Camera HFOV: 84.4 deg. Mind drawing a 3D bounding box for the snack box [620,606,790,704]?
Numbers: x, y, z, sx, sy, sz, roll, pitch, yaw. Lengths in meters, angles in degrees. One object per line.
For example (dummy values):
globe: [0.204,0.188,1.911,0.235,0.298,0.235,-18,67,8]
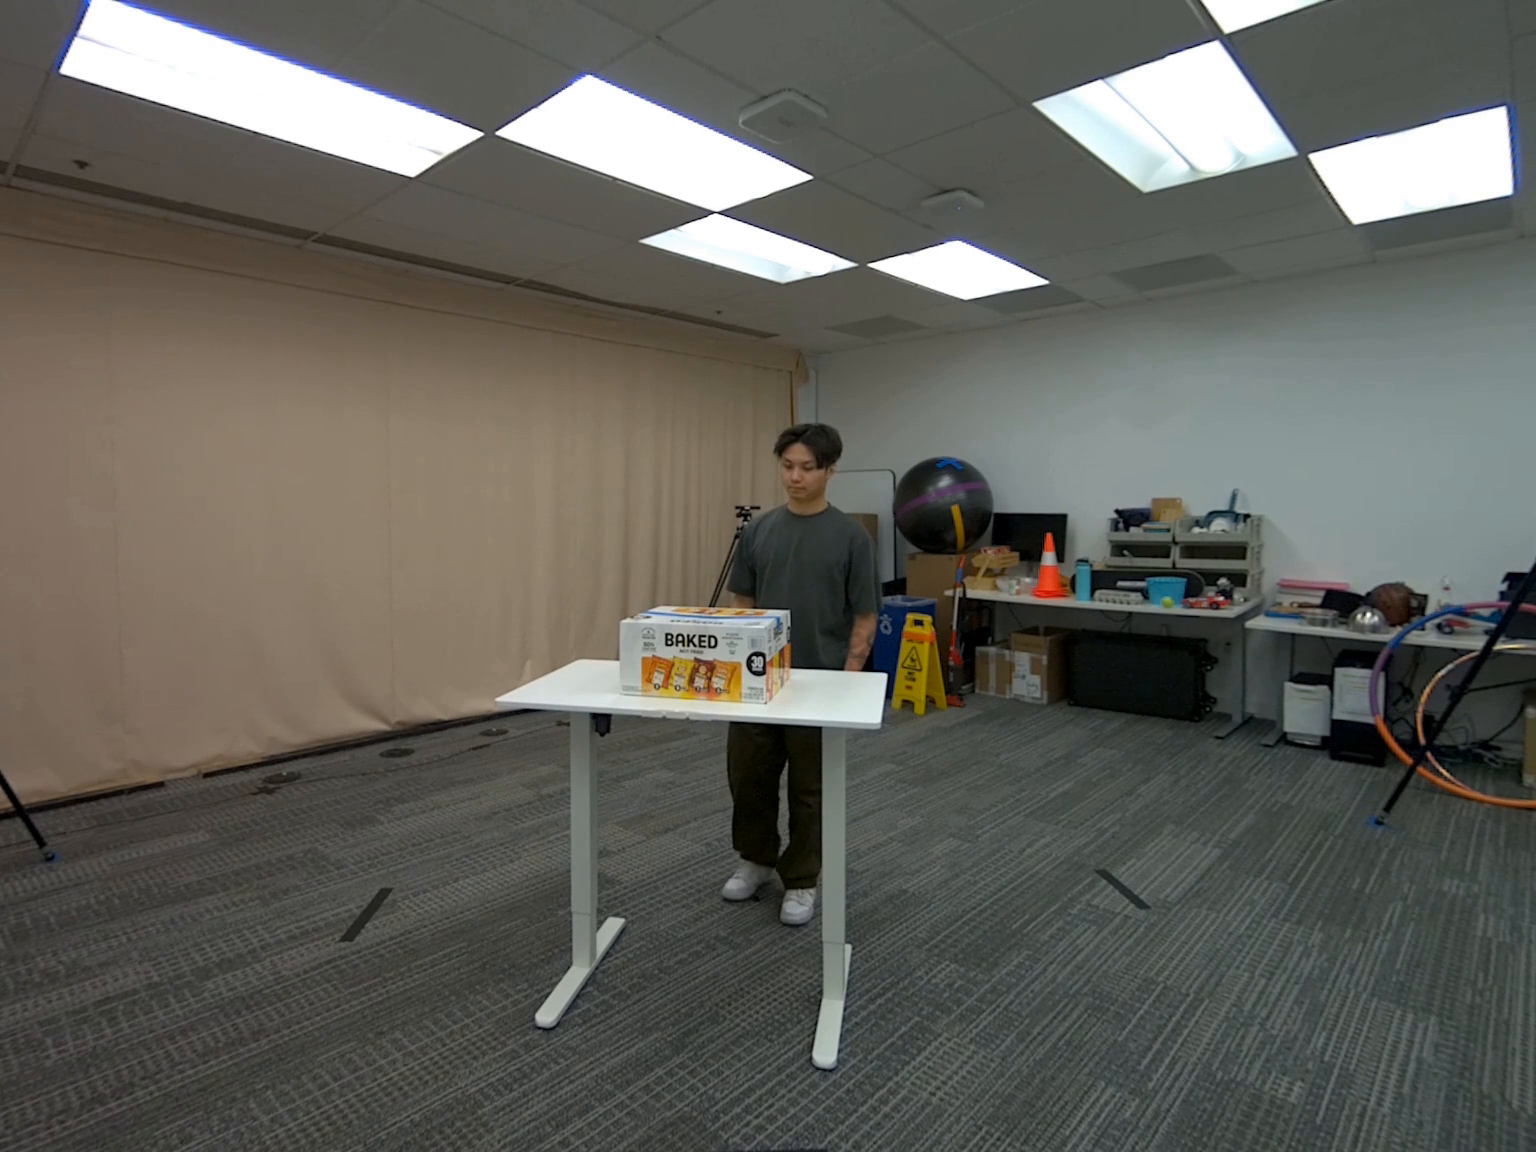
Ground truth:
snack box: [-0.166,0.213,2.378,0.411,0.205,0.336,1,4,14]
